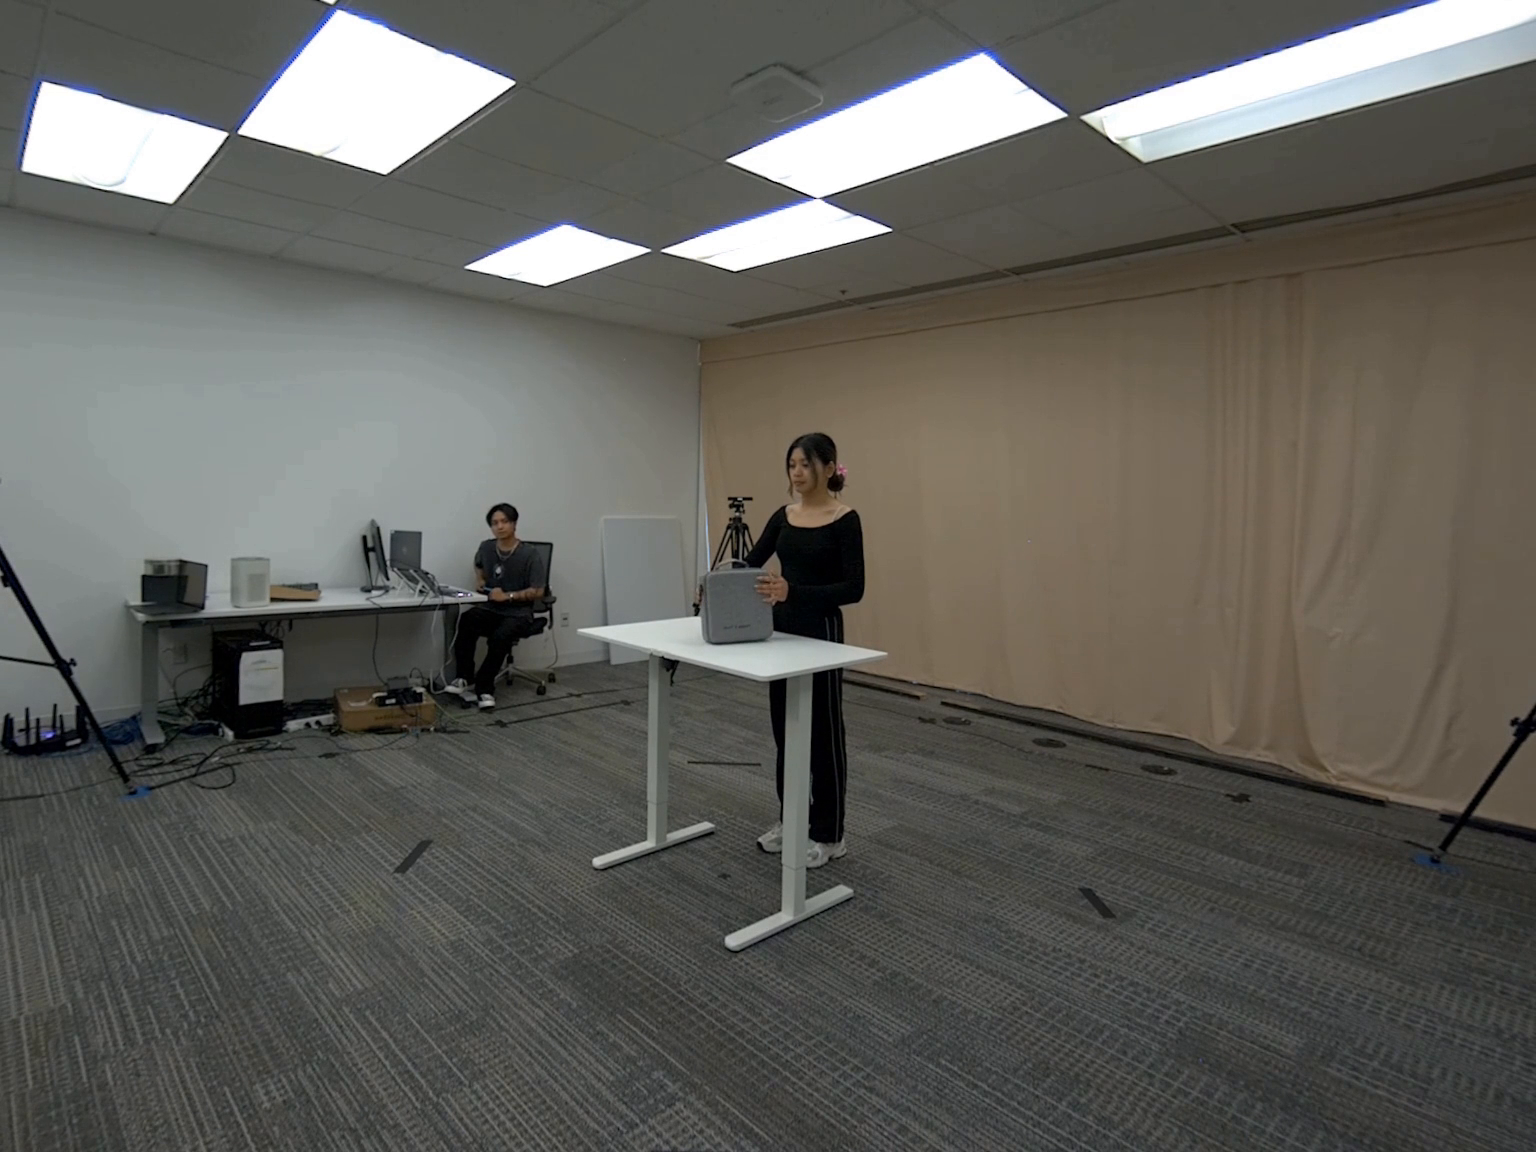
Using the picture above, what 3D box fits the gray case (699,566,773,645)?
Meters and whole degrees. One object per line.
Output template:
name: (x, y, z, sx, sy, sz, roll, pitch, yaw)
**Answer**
gray case: (-0.123, 0.103, 3.000, 0.252, 0.261, 0.106, -2, -3, -24)
